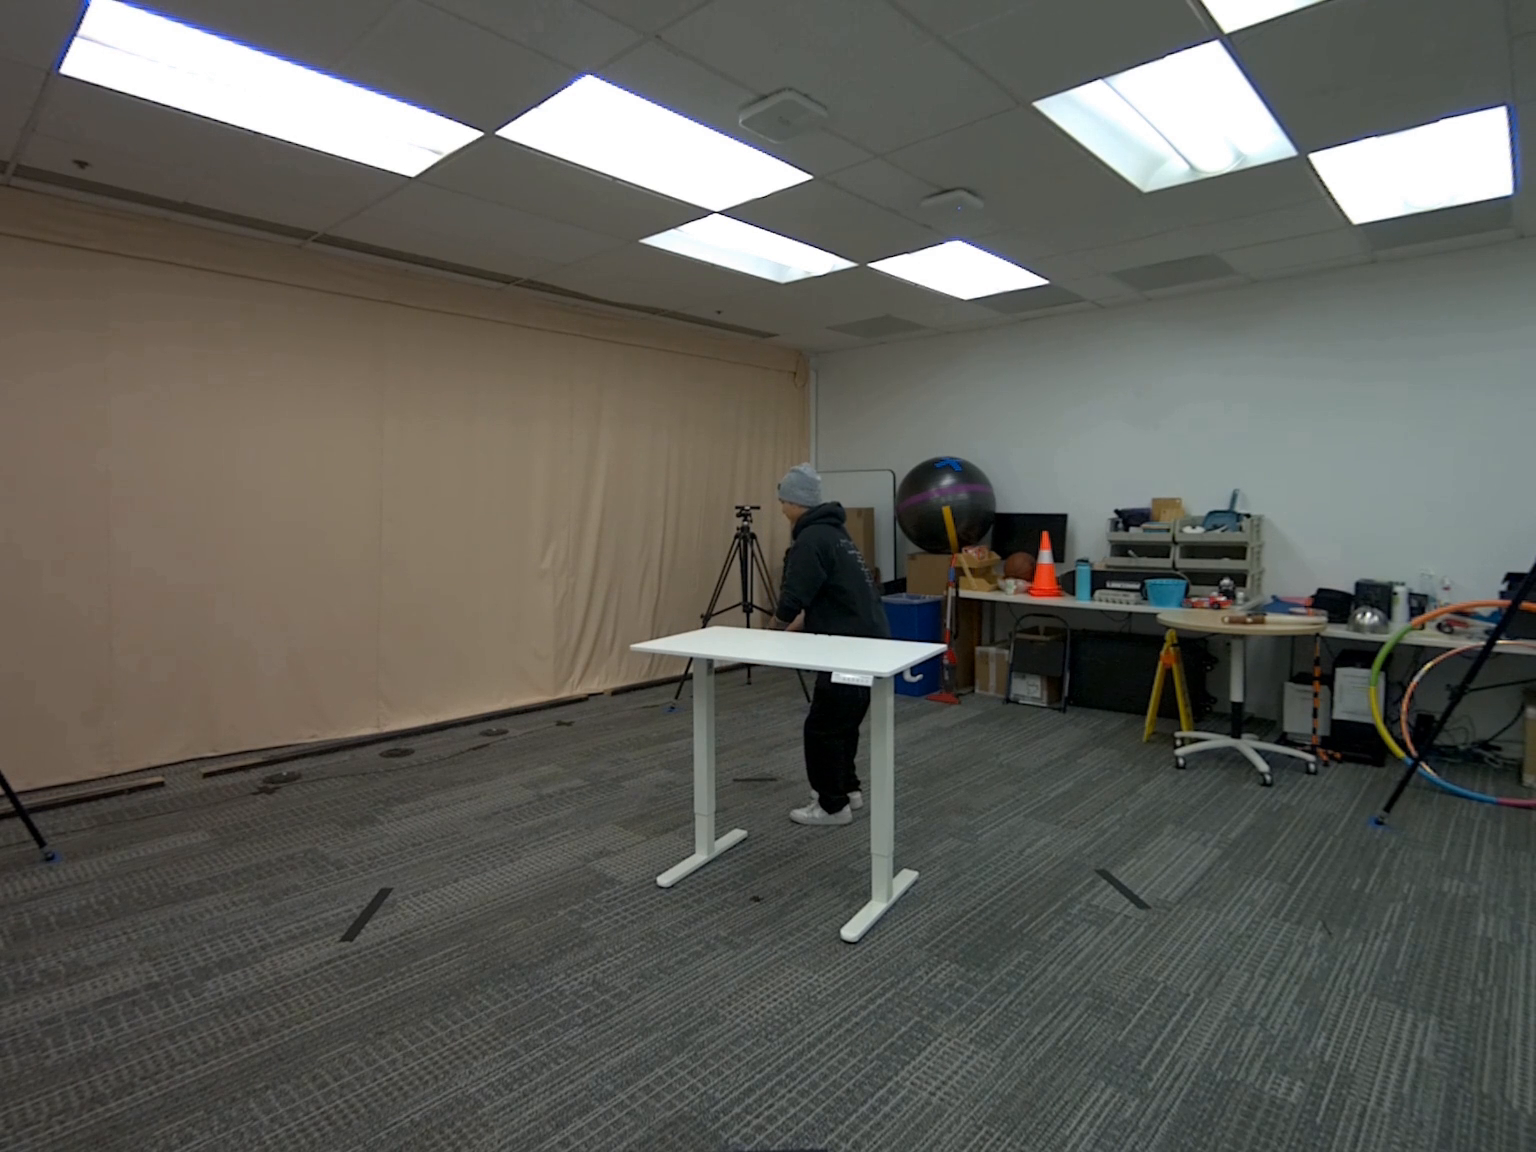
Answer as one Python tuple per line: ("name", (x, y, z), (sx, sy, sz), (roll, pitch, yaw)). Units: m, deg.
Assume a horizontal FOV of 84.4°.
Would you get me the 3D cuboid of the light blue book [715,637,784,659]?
("light blue book", (-0.088, 0.336, 4.008), (0.268, 0.059, 0.187), (0, 5, 27))
